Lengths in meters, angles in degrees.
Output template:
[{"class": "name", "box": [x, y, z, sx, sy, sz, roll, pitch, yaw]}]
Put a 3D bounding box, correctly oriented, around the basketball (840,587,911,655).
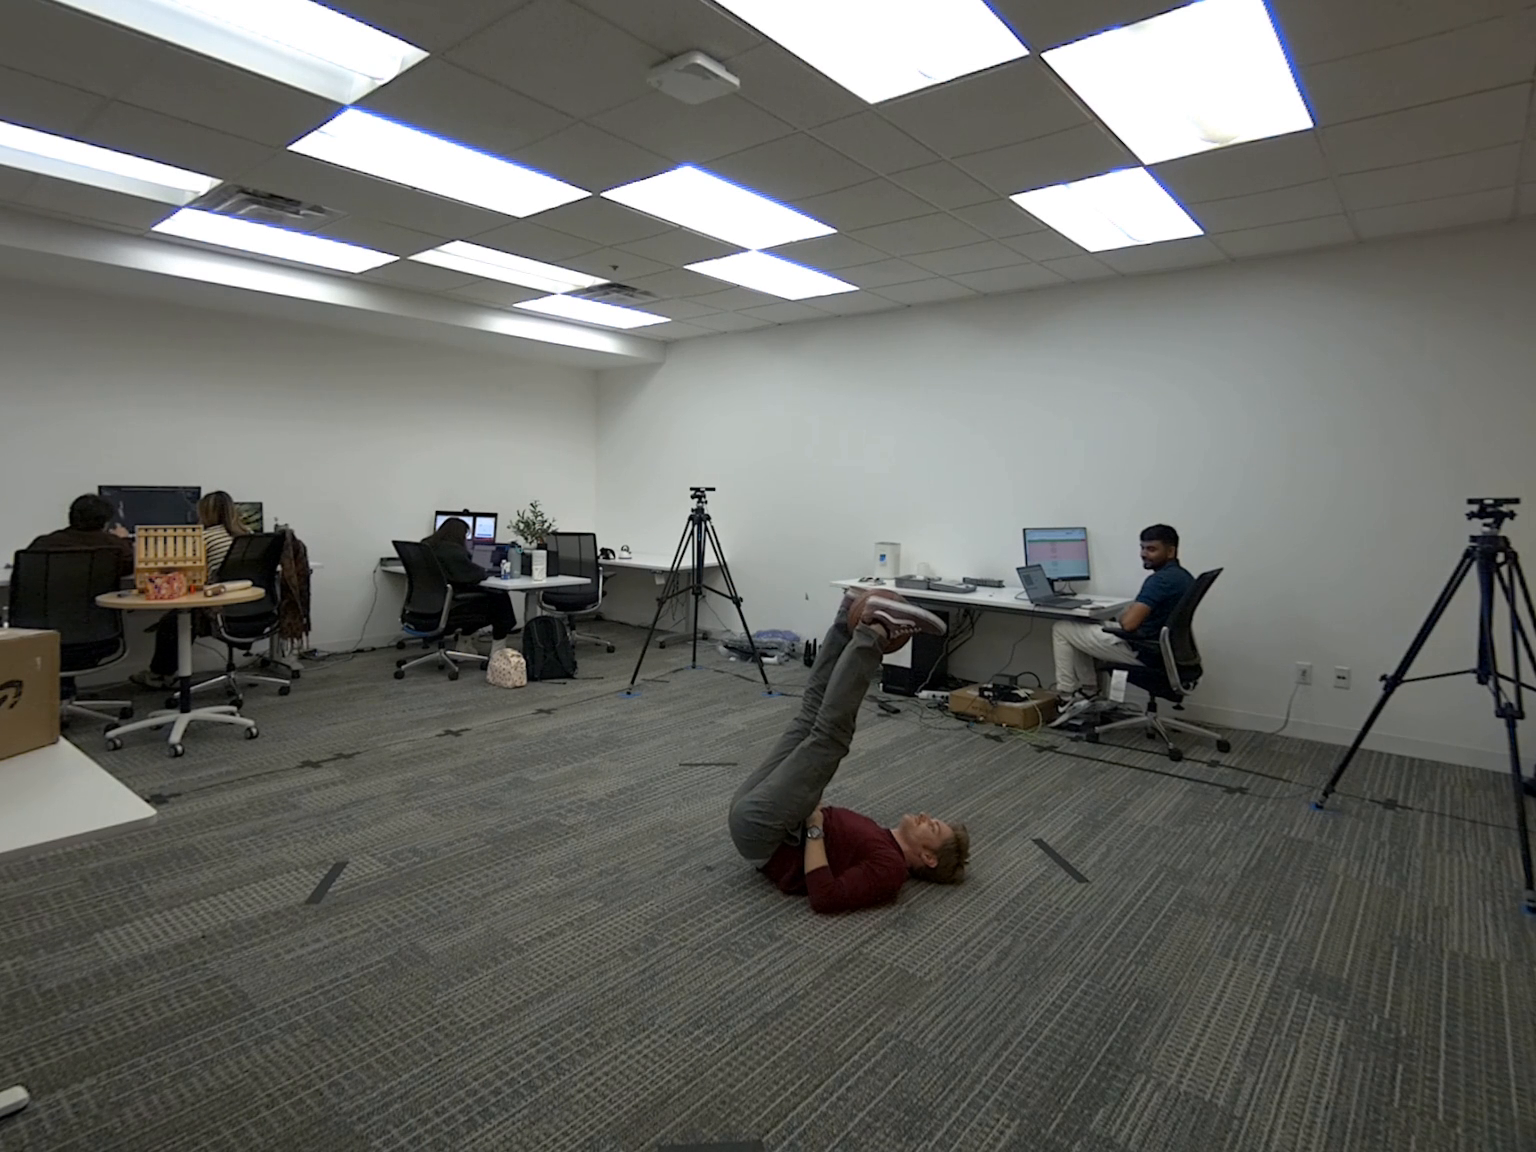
[{"class": "basketball", "box": [0.388, 0.155, 3.081, 0.236, 0.235, 0.237, -3, 3, -2]}]
